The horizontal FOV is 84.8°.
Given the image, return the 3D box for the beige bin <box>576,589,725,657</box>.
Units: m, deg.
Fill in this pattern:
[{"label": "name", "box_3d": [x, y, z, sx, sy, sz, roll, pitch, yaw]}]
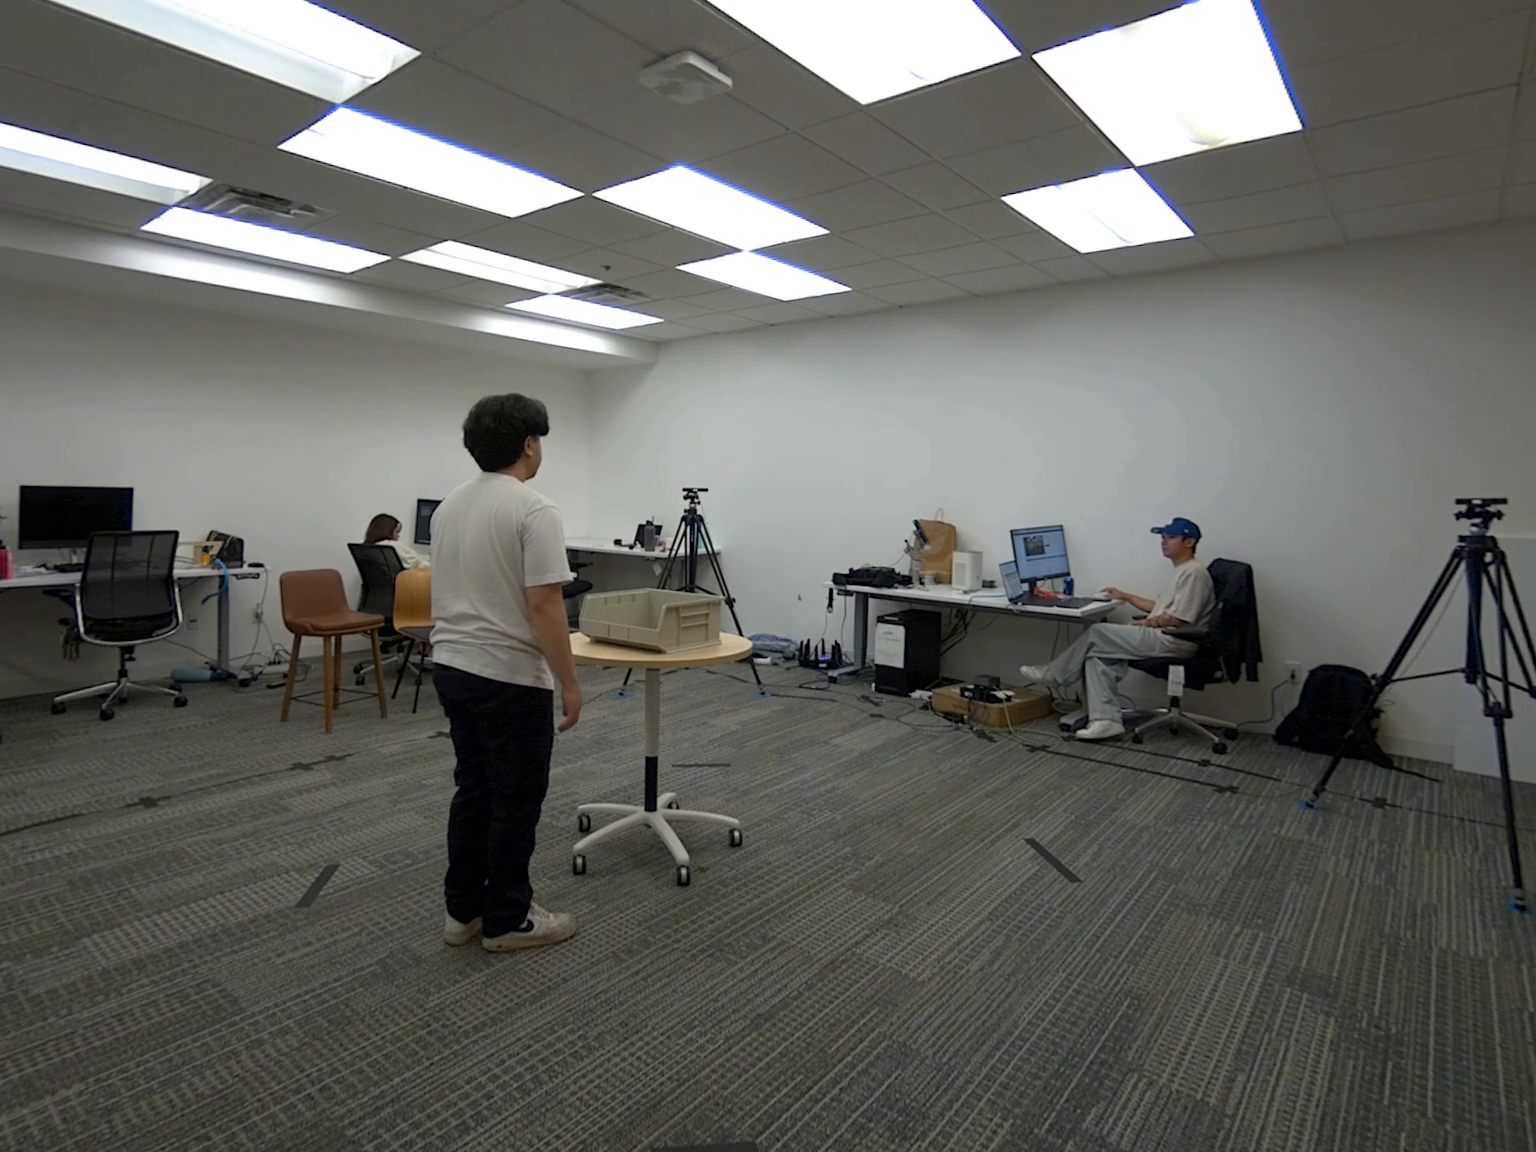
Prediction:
[{"label": "beige bin", "box_3d": [-0.454, 0.168, 3.248, 0.436, 0.188, 0.366, 4, 4, 37]}]
